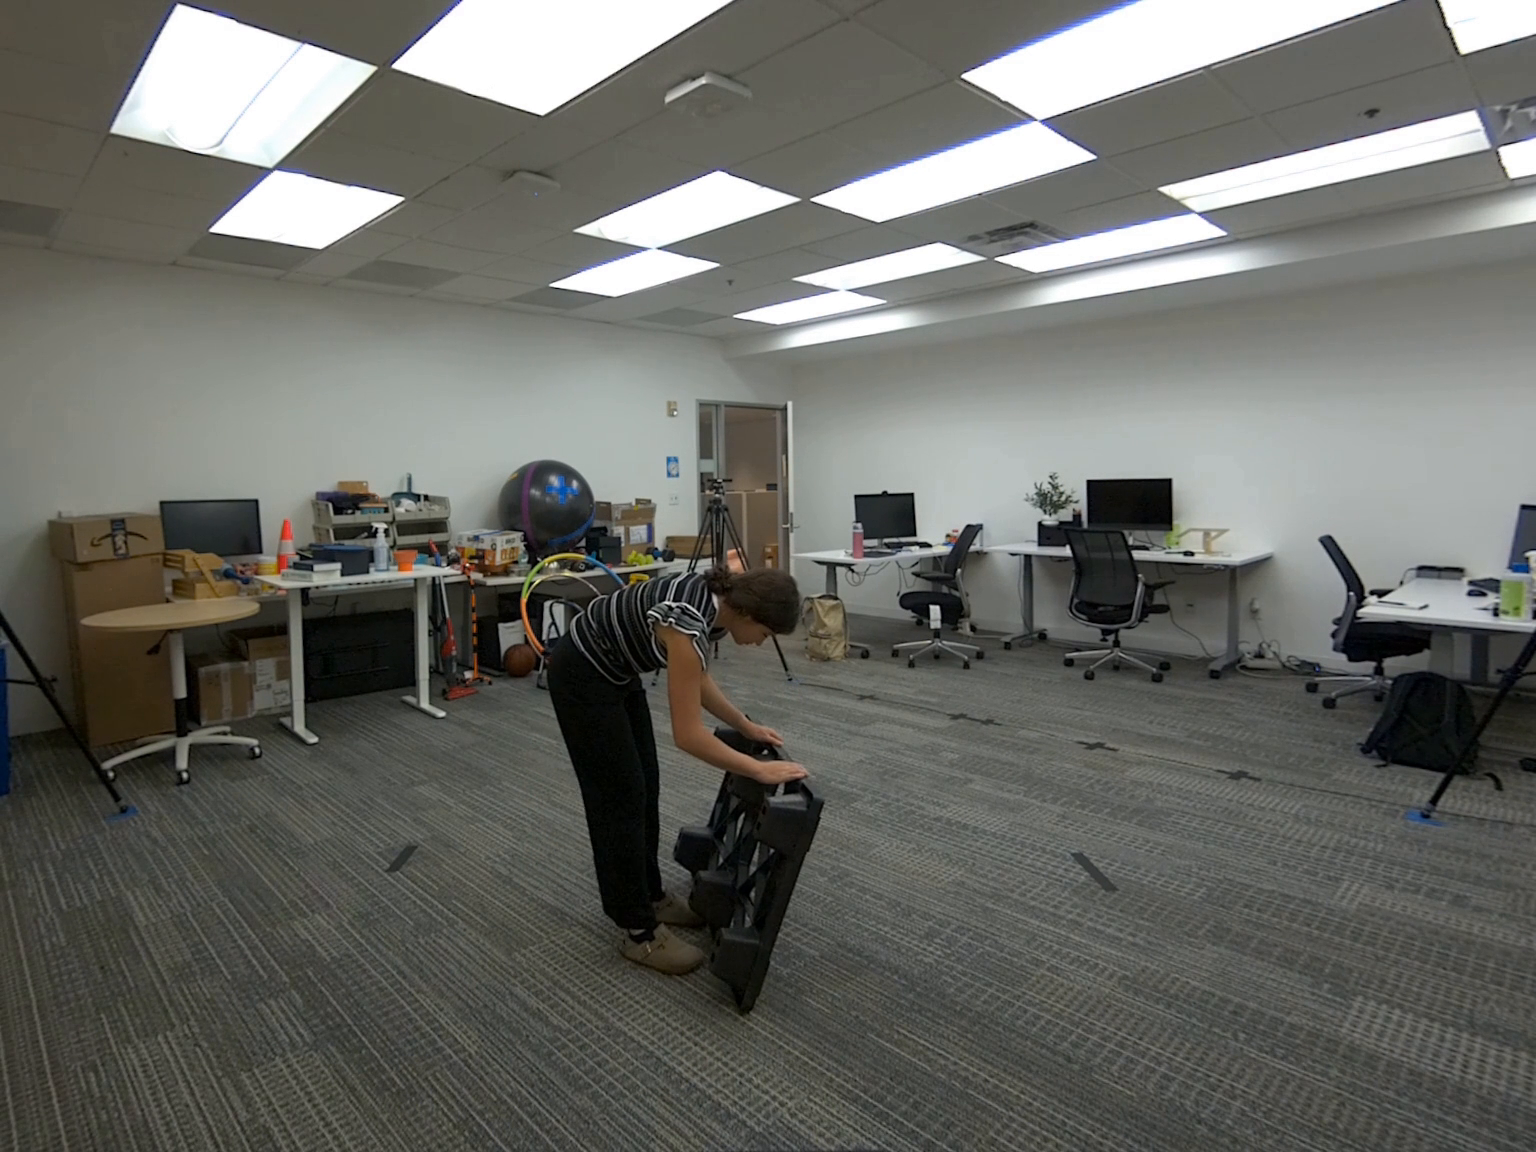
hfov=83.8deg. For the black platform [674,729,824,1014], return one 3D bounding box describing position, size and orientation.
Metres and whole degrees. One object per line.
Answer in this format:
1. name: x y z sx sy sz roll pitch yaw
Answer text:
1. black platform: -0.097 0.800 2.607 0.141 0.605 0.819 19 0 -15
